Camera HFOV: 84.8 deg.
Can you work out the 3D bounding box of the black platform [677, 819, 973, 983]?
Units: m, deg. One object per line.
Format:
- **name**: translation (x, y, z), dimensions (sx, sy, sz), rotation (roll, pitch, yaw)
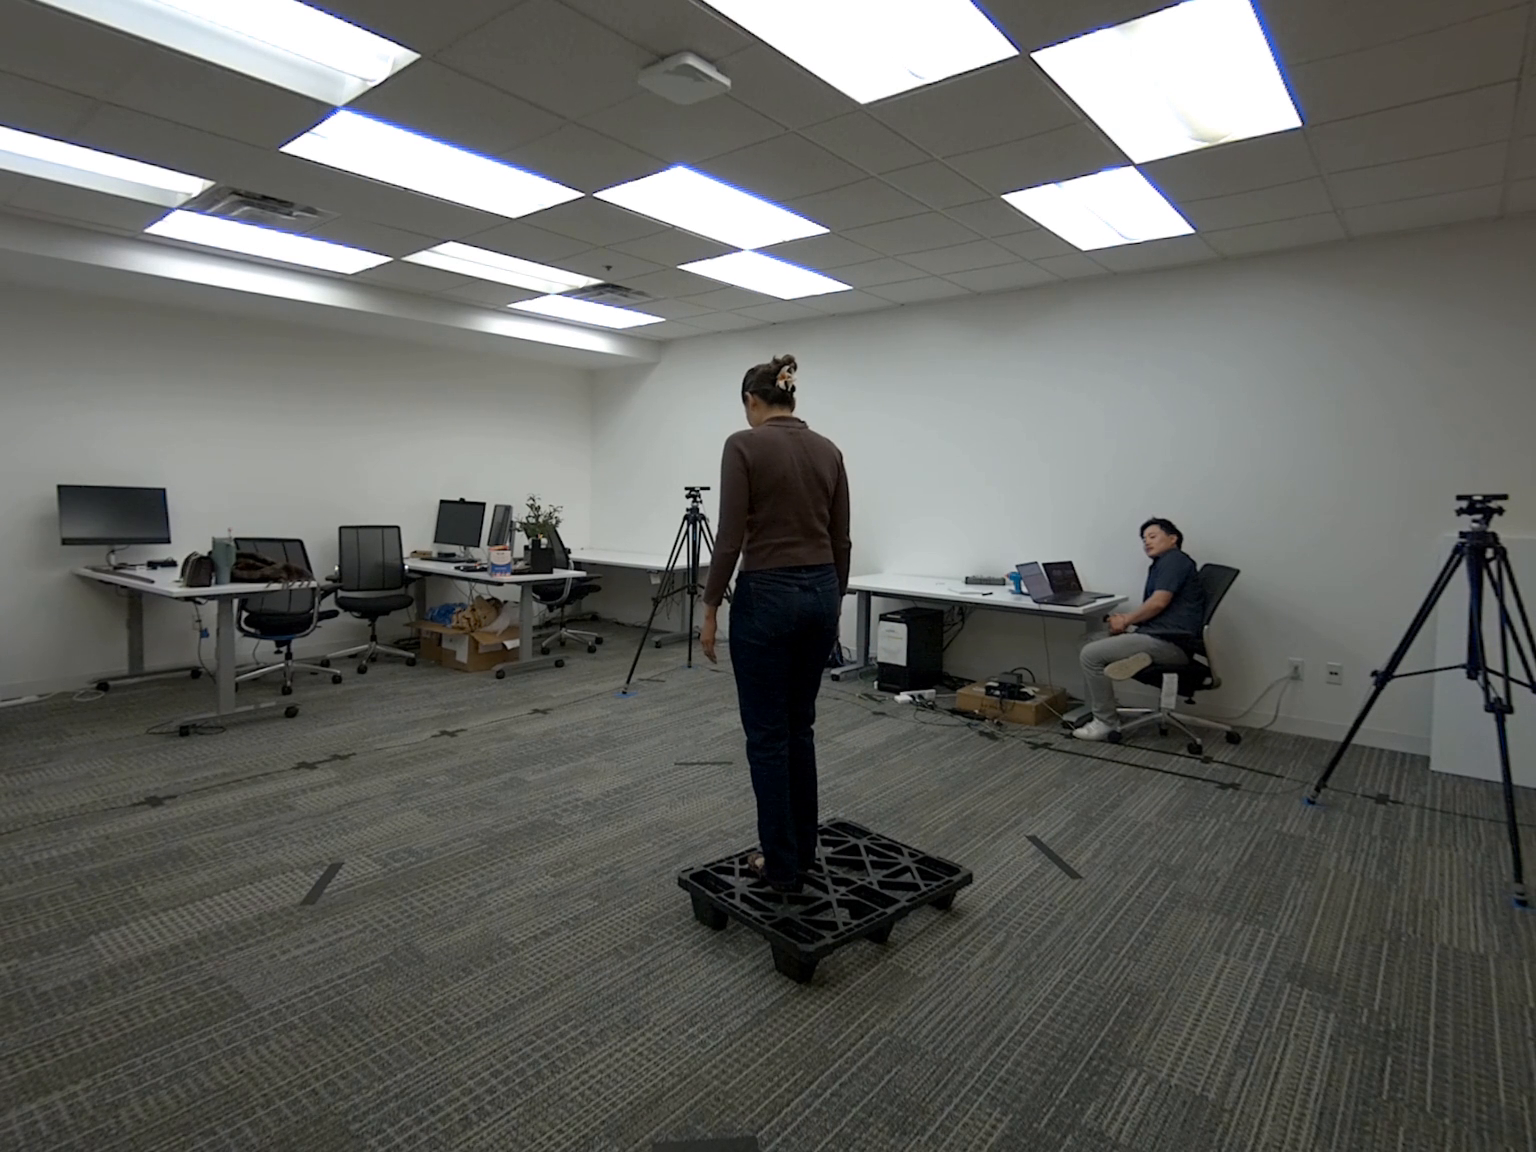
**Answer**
- **black platform**: translation (0.180, 1.038, 2.793), dimensions (0.781, 0.143, 0.626), rotation (-4, 7, -42)
